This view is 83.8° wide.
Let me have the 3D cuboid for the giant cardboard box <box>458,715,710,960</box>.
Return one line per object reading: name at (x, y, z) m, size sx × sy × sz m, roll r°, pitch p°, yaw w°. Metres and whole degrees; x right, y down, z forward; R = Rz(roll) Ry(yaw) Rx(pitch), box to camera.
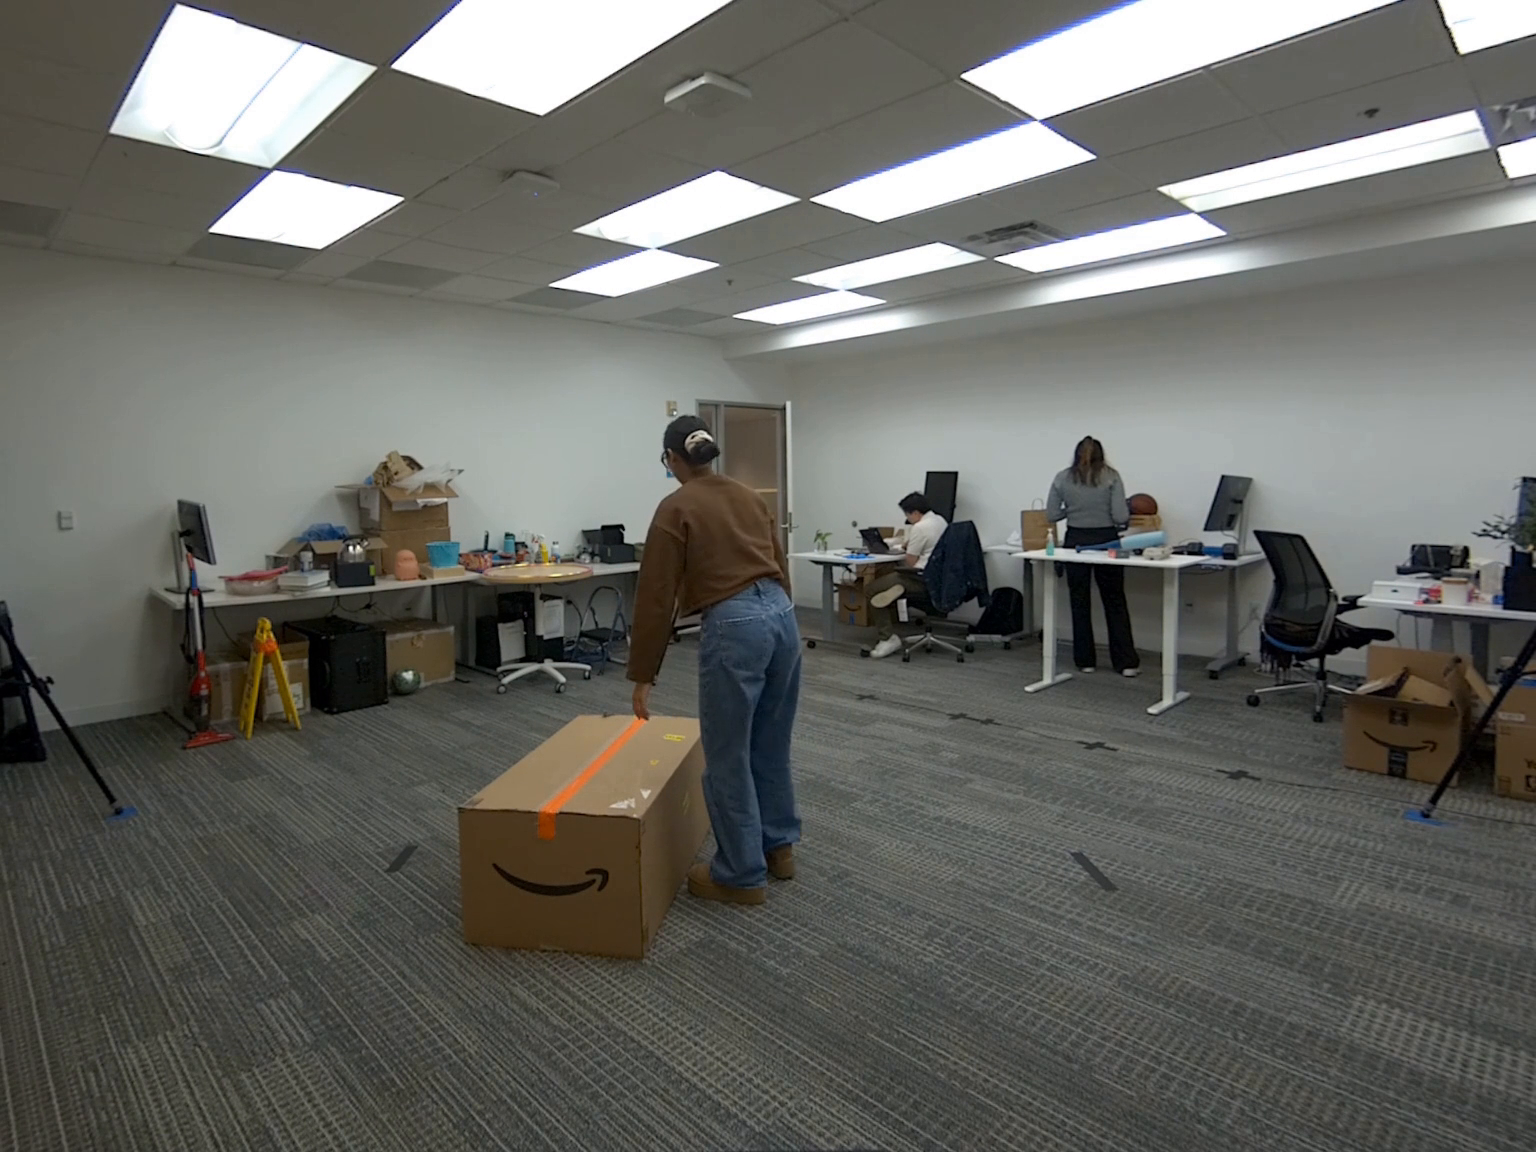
giant cardboard box at (-0.579, 0.847, 3.033) m, size 0.583 × 0.424 × 1.021 m, roll 0°, pitch 6°, yaw 8°
